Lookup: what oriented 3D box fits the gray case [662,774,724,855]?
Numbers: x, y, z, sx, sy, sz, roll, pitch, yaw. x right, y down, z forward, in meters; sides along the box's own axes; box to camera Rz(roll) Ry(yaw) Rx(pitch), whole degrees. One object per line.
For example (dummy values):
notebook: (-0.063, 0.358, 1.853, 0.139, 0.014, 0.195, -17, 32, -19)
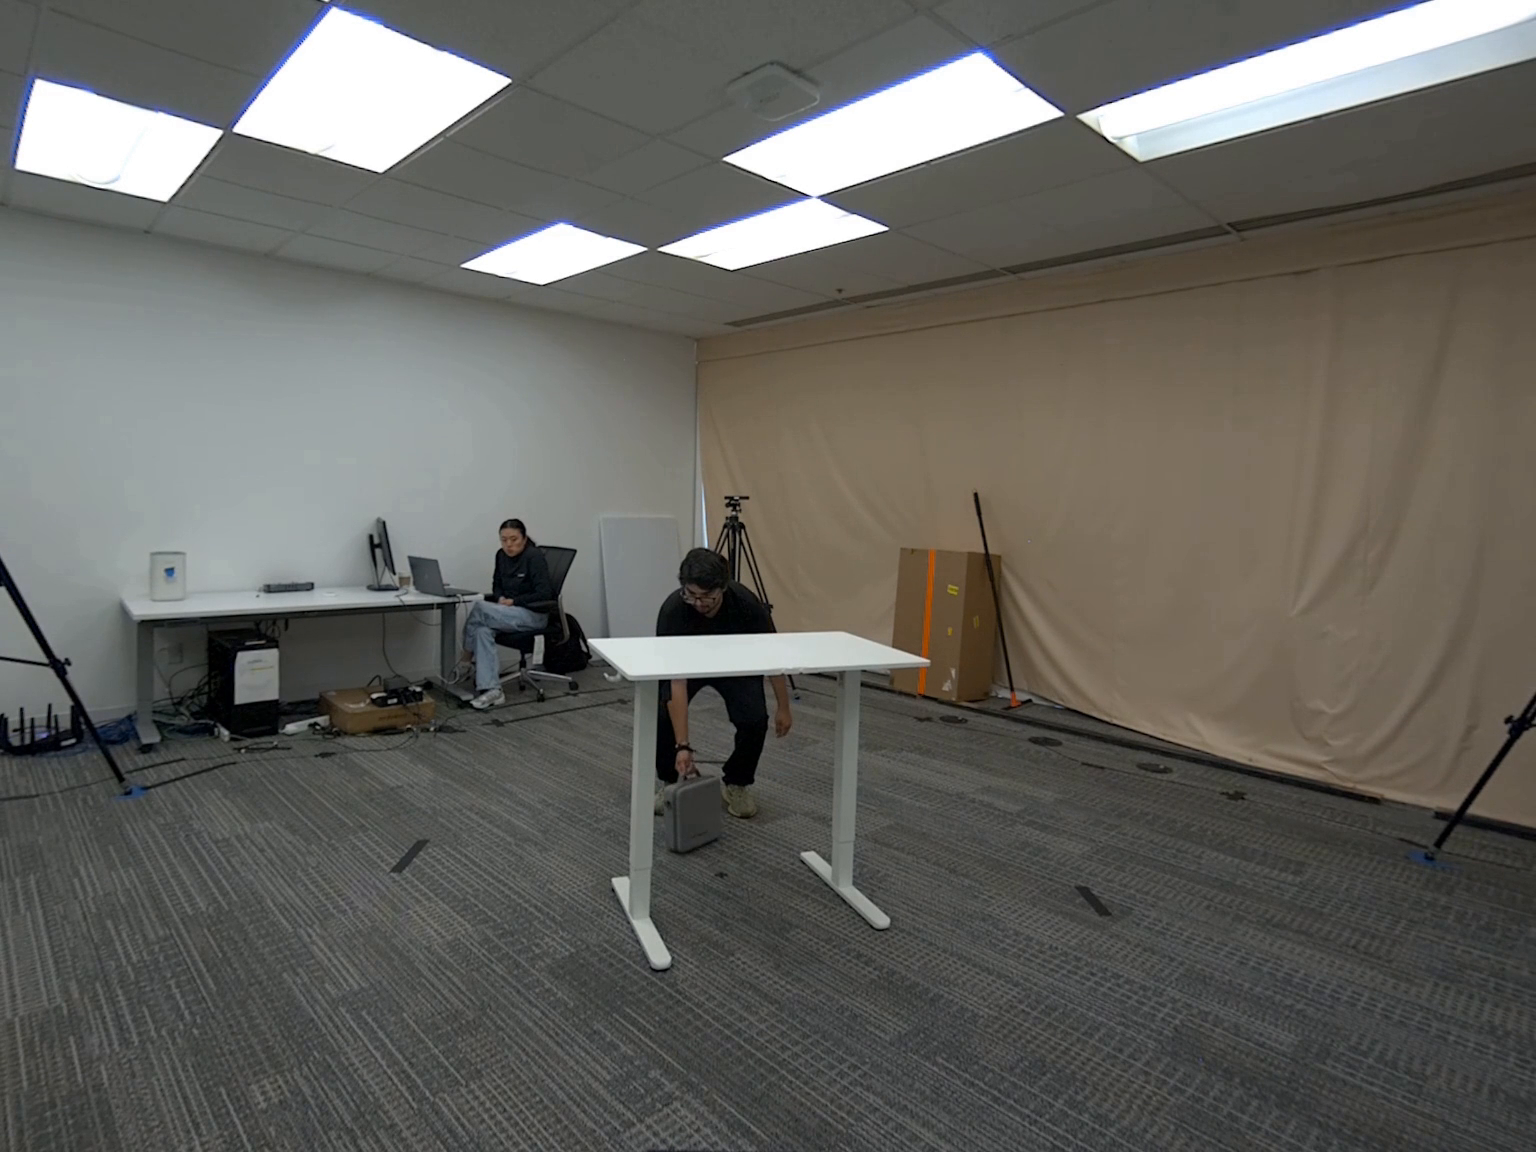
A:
gray case: (-0.310, 0.937, 3.364, 0.107, 0.260, 0.251, -1, 1, 40)
